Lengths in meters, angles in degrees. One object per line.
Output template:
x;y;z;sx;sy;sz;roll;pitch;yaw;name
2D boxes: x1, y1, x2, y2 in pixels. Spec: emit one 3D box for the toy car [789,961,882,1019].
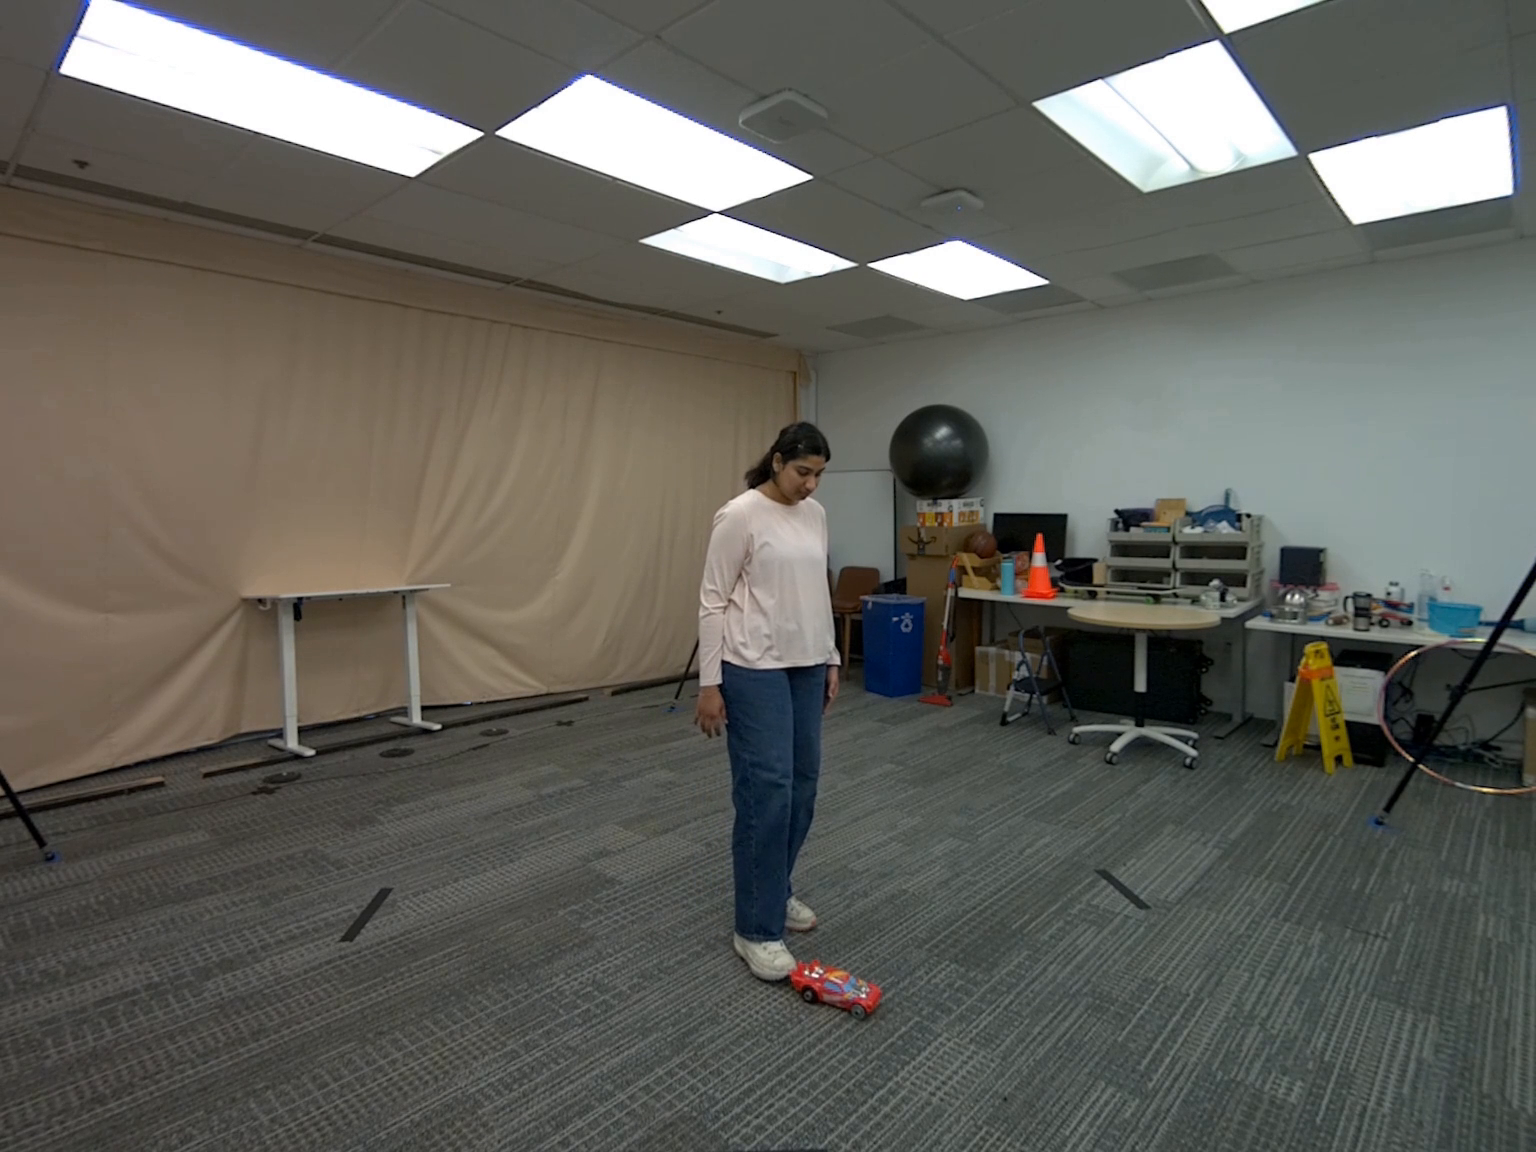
0.191;1.166;2.365;0.262;0.083;0.127;14;11;28;toy car
